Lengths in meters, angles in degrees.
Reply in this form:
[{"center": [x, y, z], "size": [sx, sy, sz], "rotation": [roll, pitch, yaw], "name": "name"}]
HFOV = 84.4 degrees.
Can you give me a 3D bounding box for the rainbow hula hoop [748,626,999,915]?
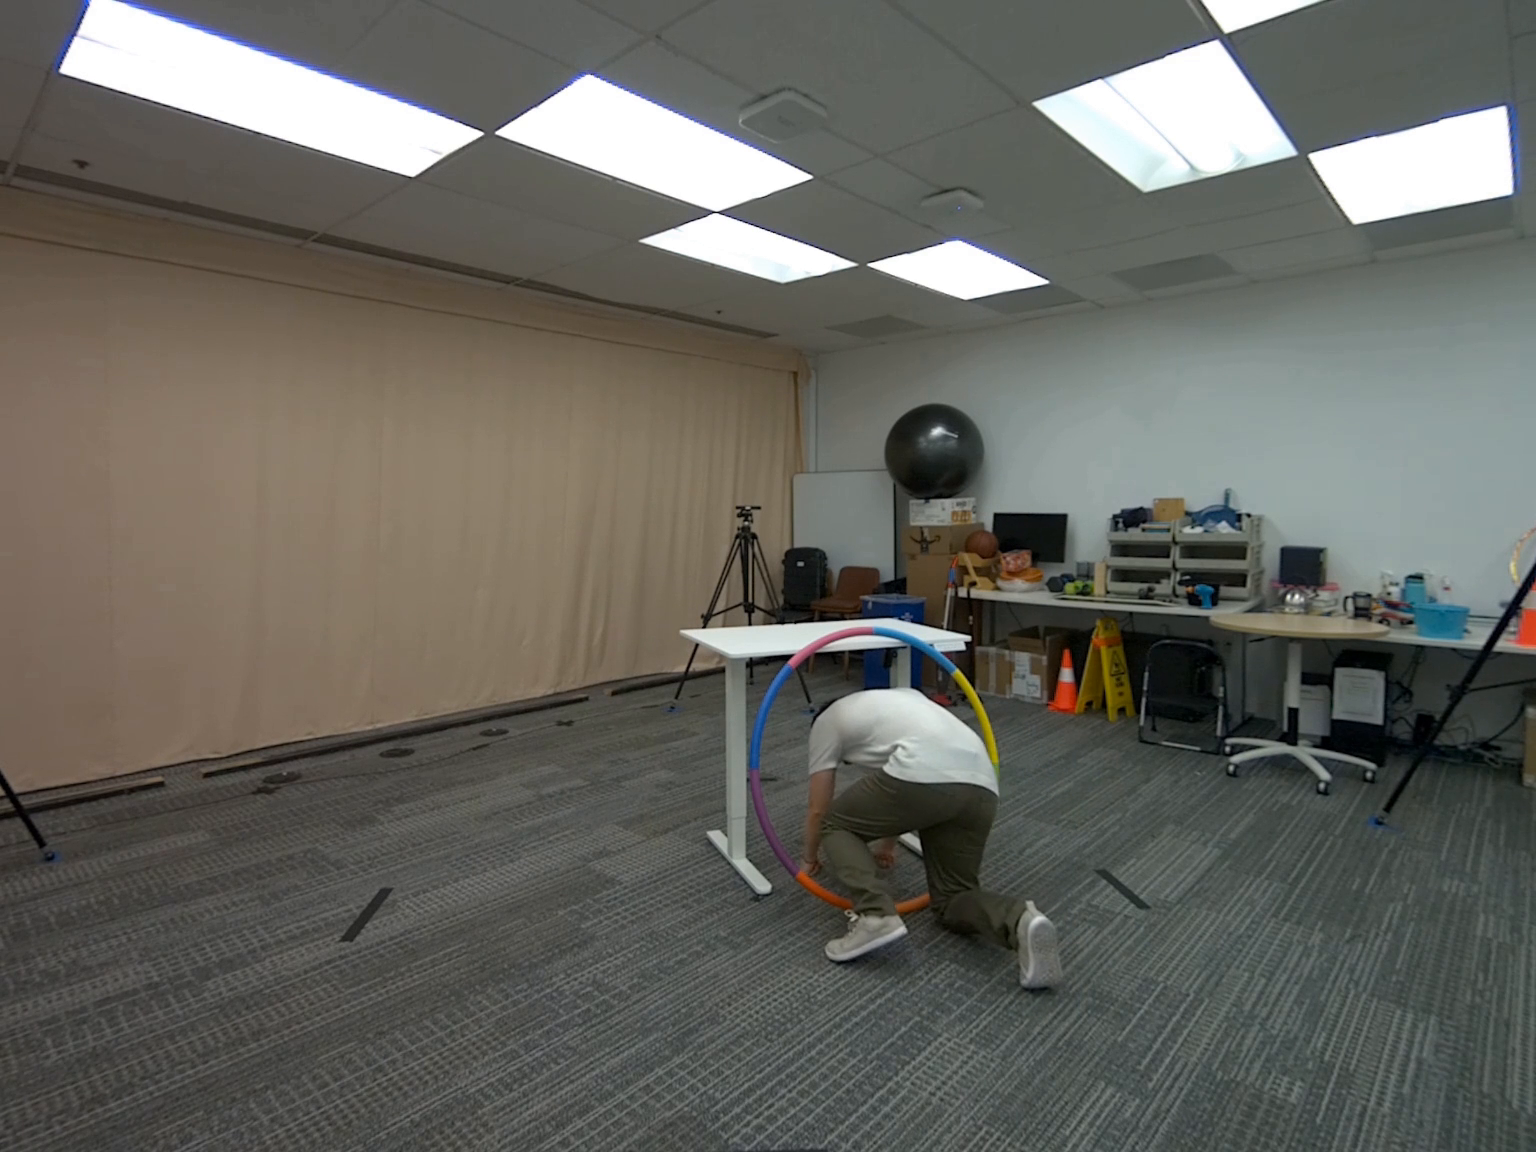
[{"center": [0.403, 0.668, 2.977], "size": [0.959, 0.988, 0.036], "rotation": [-2, -14, -20], "name": "rainbow hula hoop"}]
